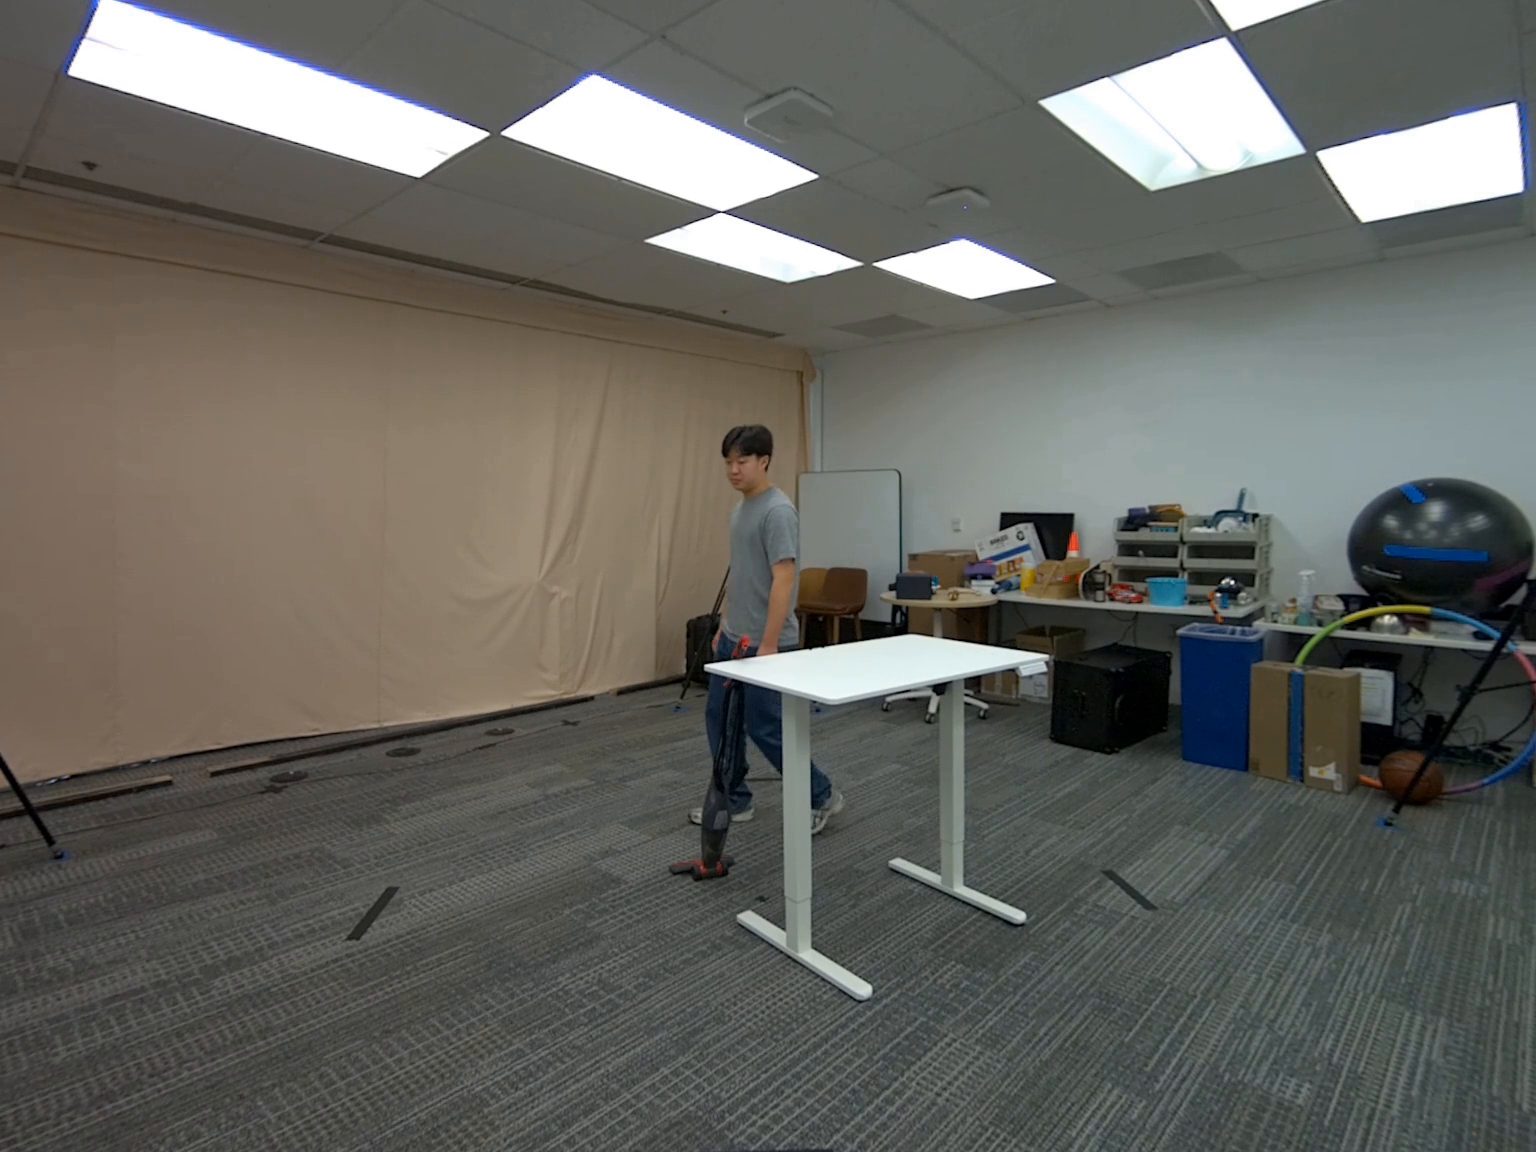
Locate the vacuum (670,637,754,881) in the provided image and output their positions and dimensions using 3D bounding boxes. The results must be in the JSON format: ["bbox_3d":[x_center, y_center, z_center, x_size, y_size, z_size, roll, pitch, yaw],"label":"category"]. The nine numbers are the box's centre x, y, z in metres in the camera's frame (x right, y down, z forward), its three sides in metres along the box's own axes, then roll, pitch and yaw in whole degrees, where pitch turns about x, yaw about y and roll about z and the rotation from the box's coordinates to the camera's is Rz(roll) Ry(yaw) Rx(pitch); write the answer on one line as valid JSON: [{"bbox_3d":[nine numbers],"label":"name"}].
[{"bbox_3d":[-0.170,0.669,2.975,0.247,1.037,0.149,-4,31,-24],"label":"vacuum"}]
